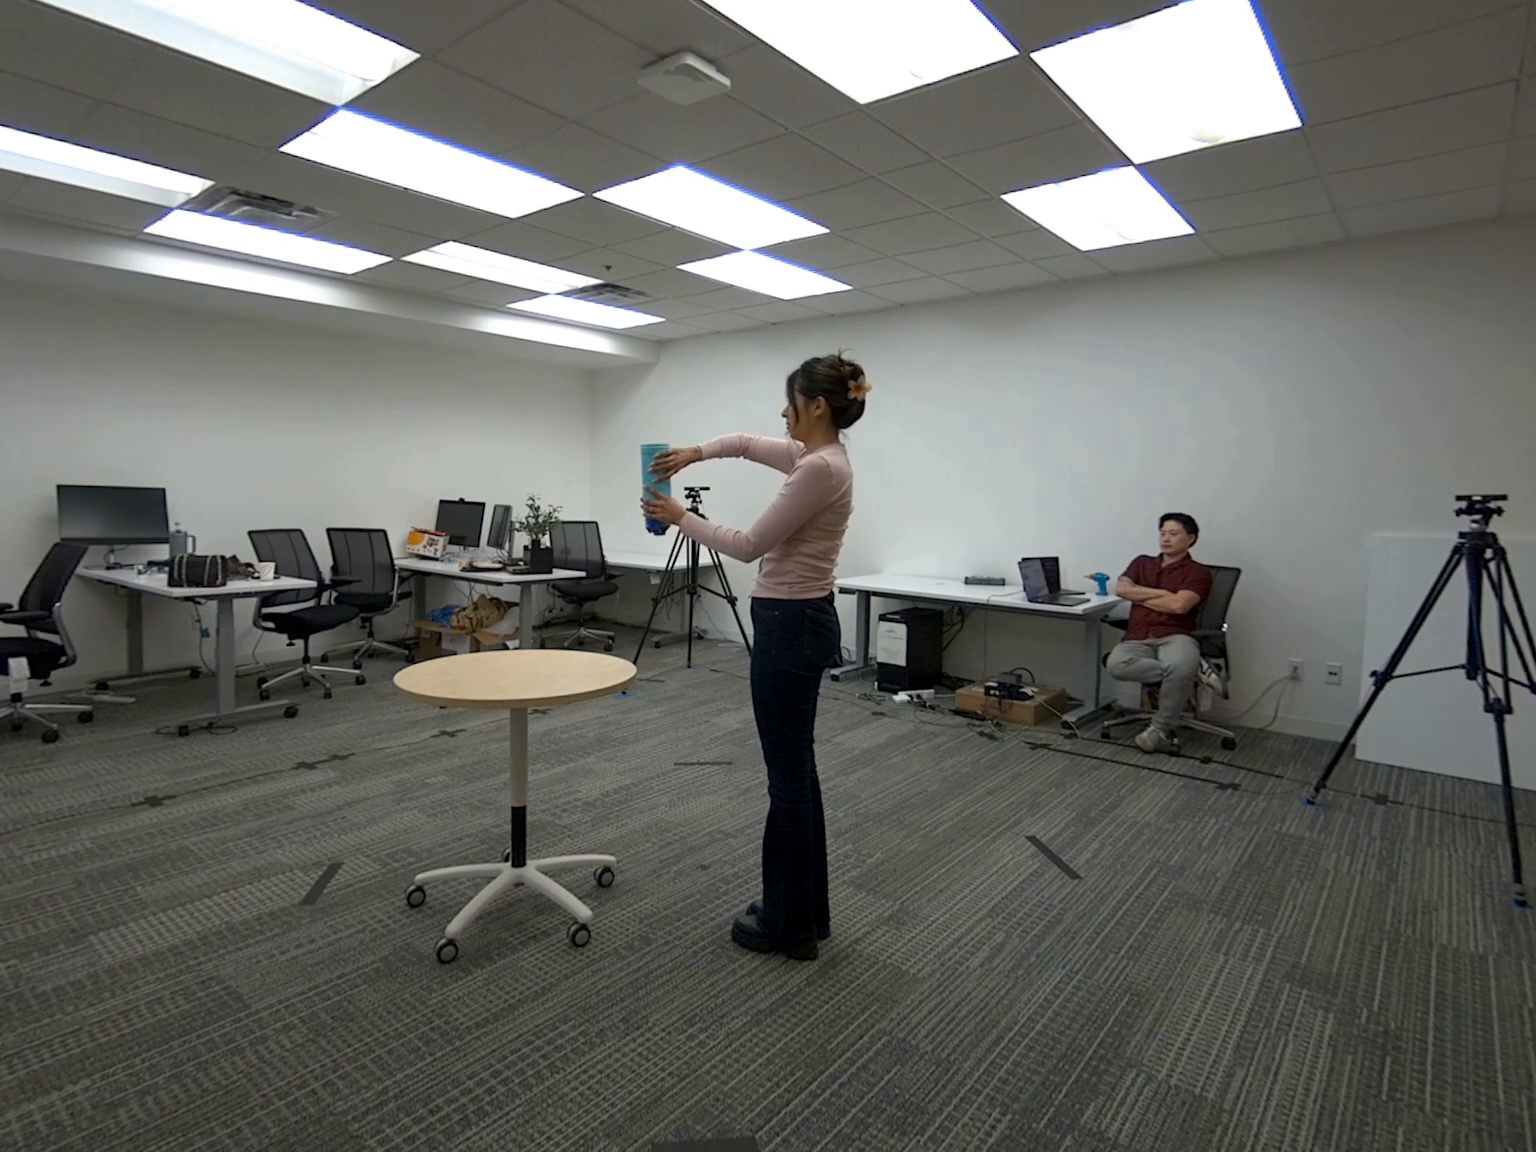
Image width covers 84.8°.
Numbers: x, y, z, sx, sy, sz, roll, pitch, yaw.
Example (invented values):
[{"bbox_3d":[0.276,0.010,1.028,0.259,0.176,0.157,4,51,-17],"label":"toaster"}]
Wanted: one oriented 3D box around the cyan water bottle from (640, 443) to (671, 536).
[{"bbox_3d":[-0.357,-0.261,2.625,0.092,0.282,0.093,-1,5,-2],"label":"cyan water bottle"}]
